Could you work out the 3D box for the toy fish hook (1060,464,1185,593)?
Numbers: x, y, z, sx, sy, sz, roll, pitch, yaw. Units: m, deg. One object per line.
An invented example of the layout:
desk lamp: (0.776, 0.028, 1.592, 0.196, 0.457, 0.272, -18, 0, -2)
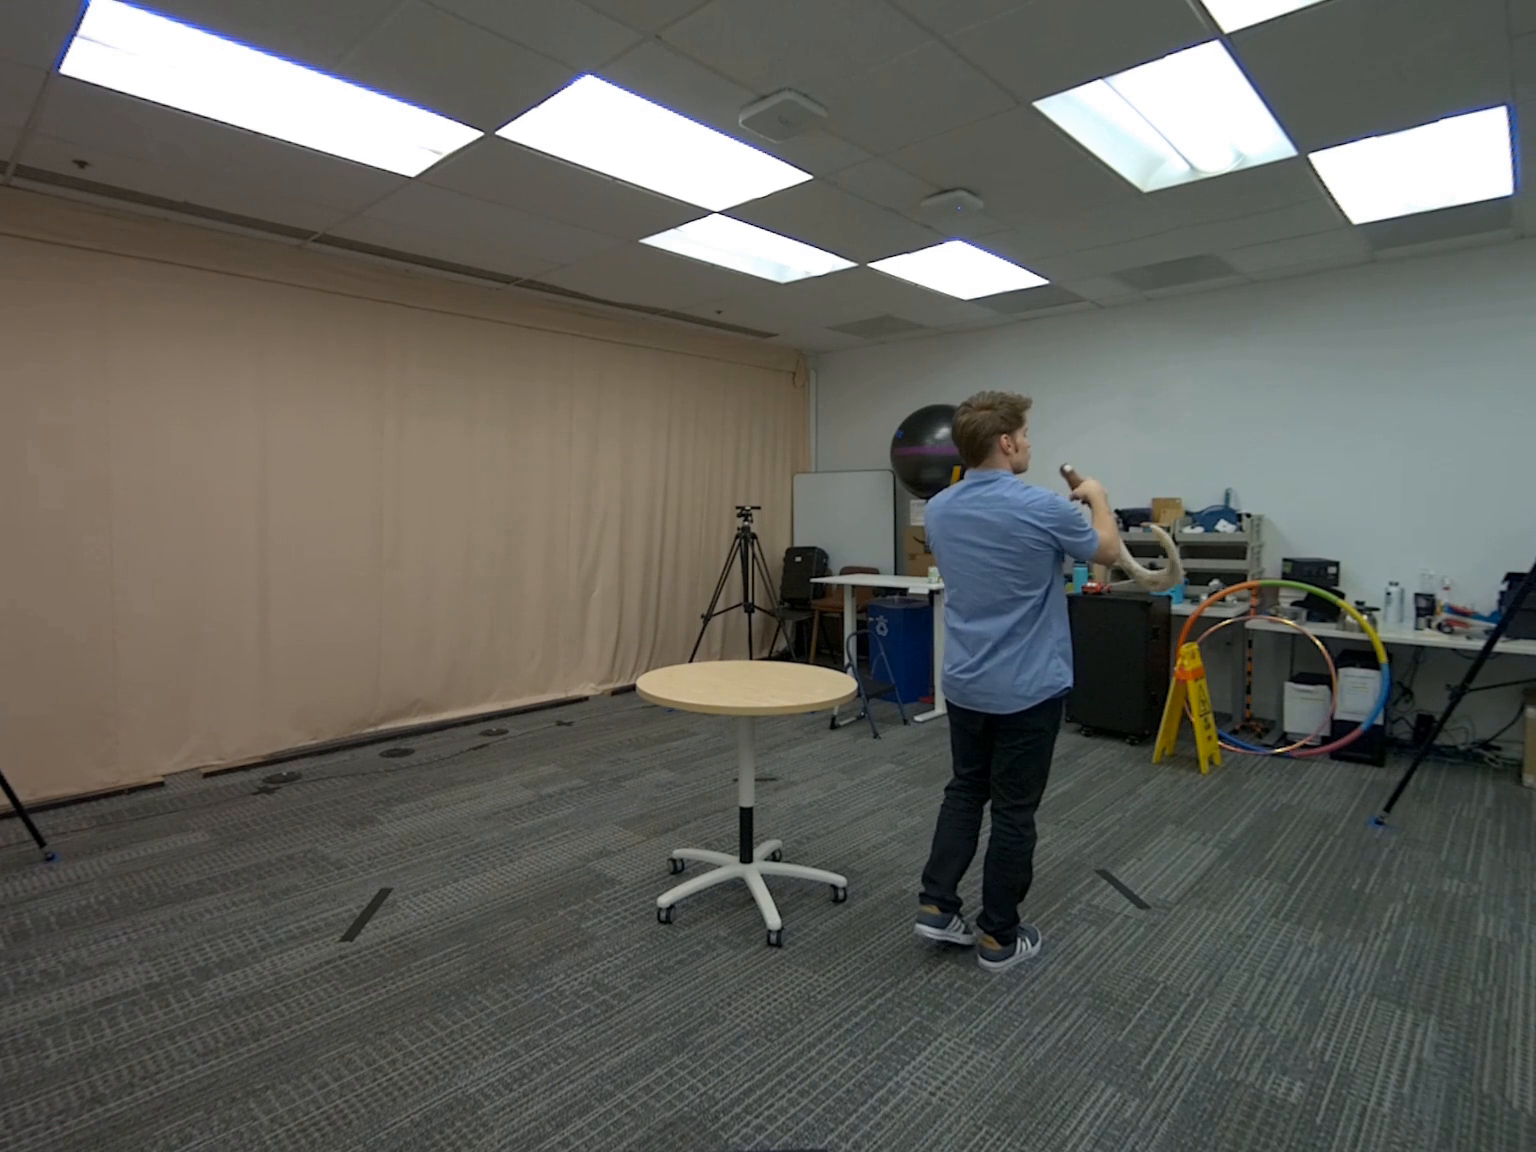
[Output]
toy fish hook: (1.138, -0.182, 2.682, 0.047, 0.513, 0.225, -29, -12, -27)
